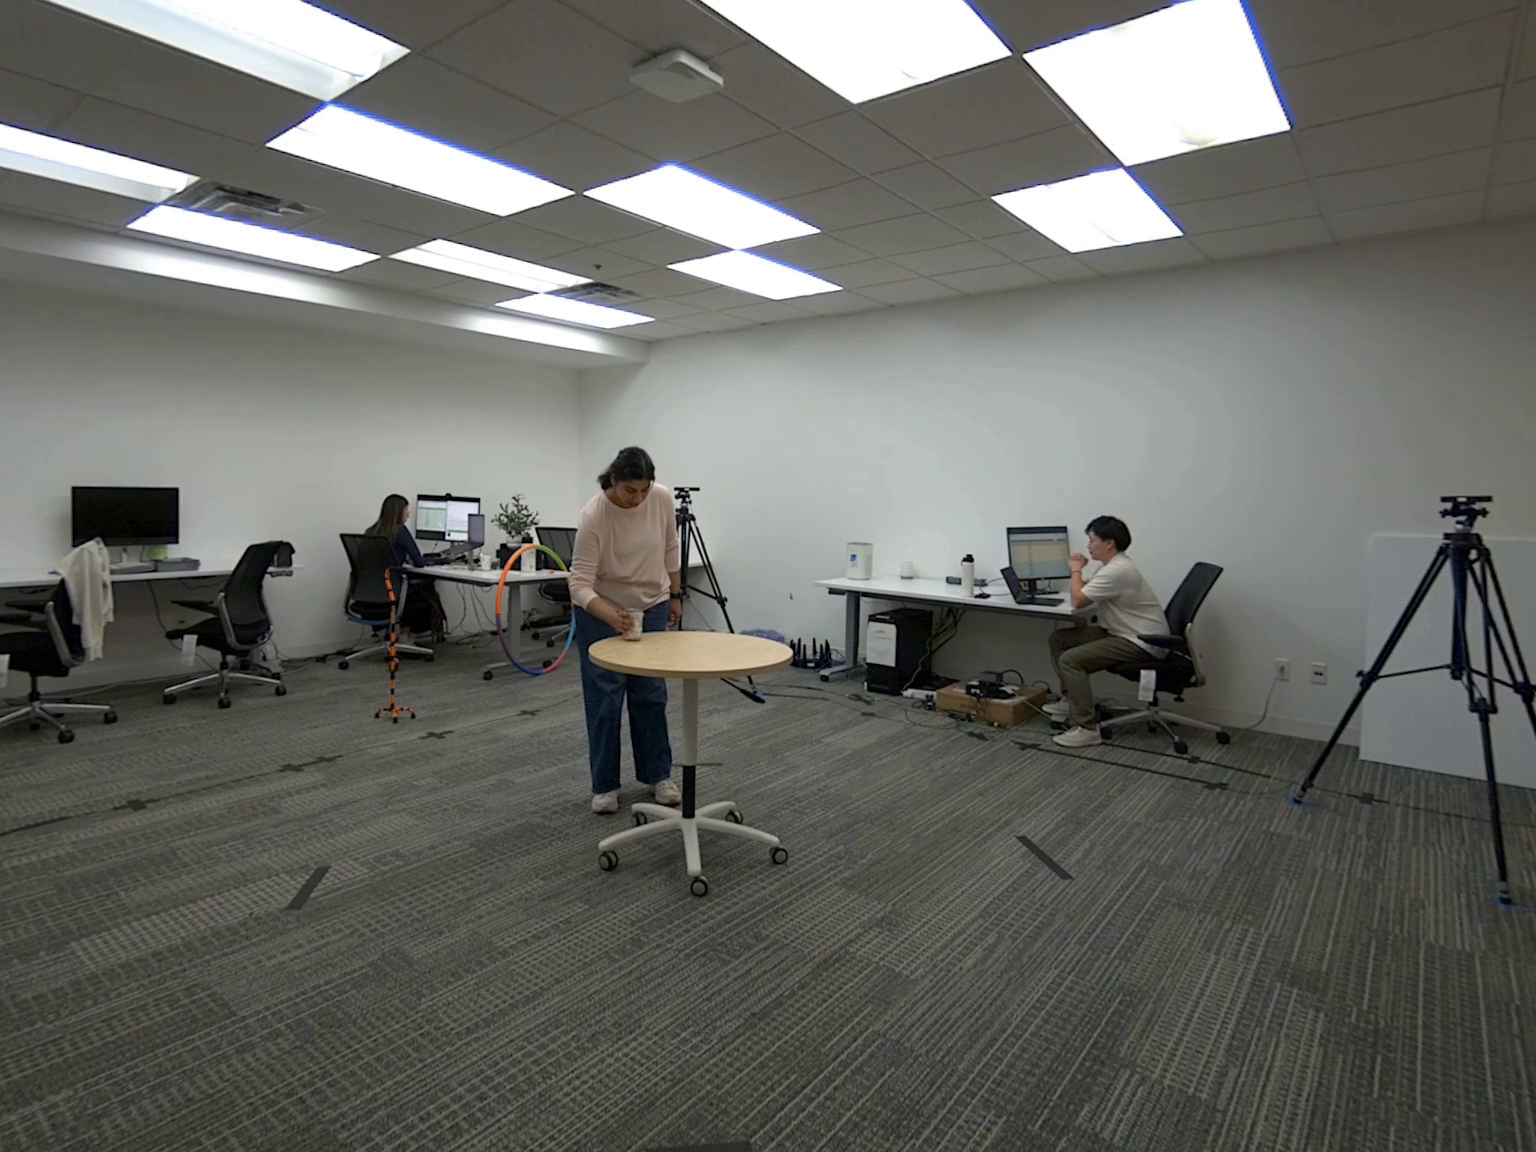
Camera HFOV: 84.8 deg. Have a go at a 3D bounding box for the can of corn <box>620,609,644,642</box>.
[{"bbox_3d":[-0.538,0.187,3.359,0.074,0.111,0.074,1,3,-2],"label":"can of corn"}]
